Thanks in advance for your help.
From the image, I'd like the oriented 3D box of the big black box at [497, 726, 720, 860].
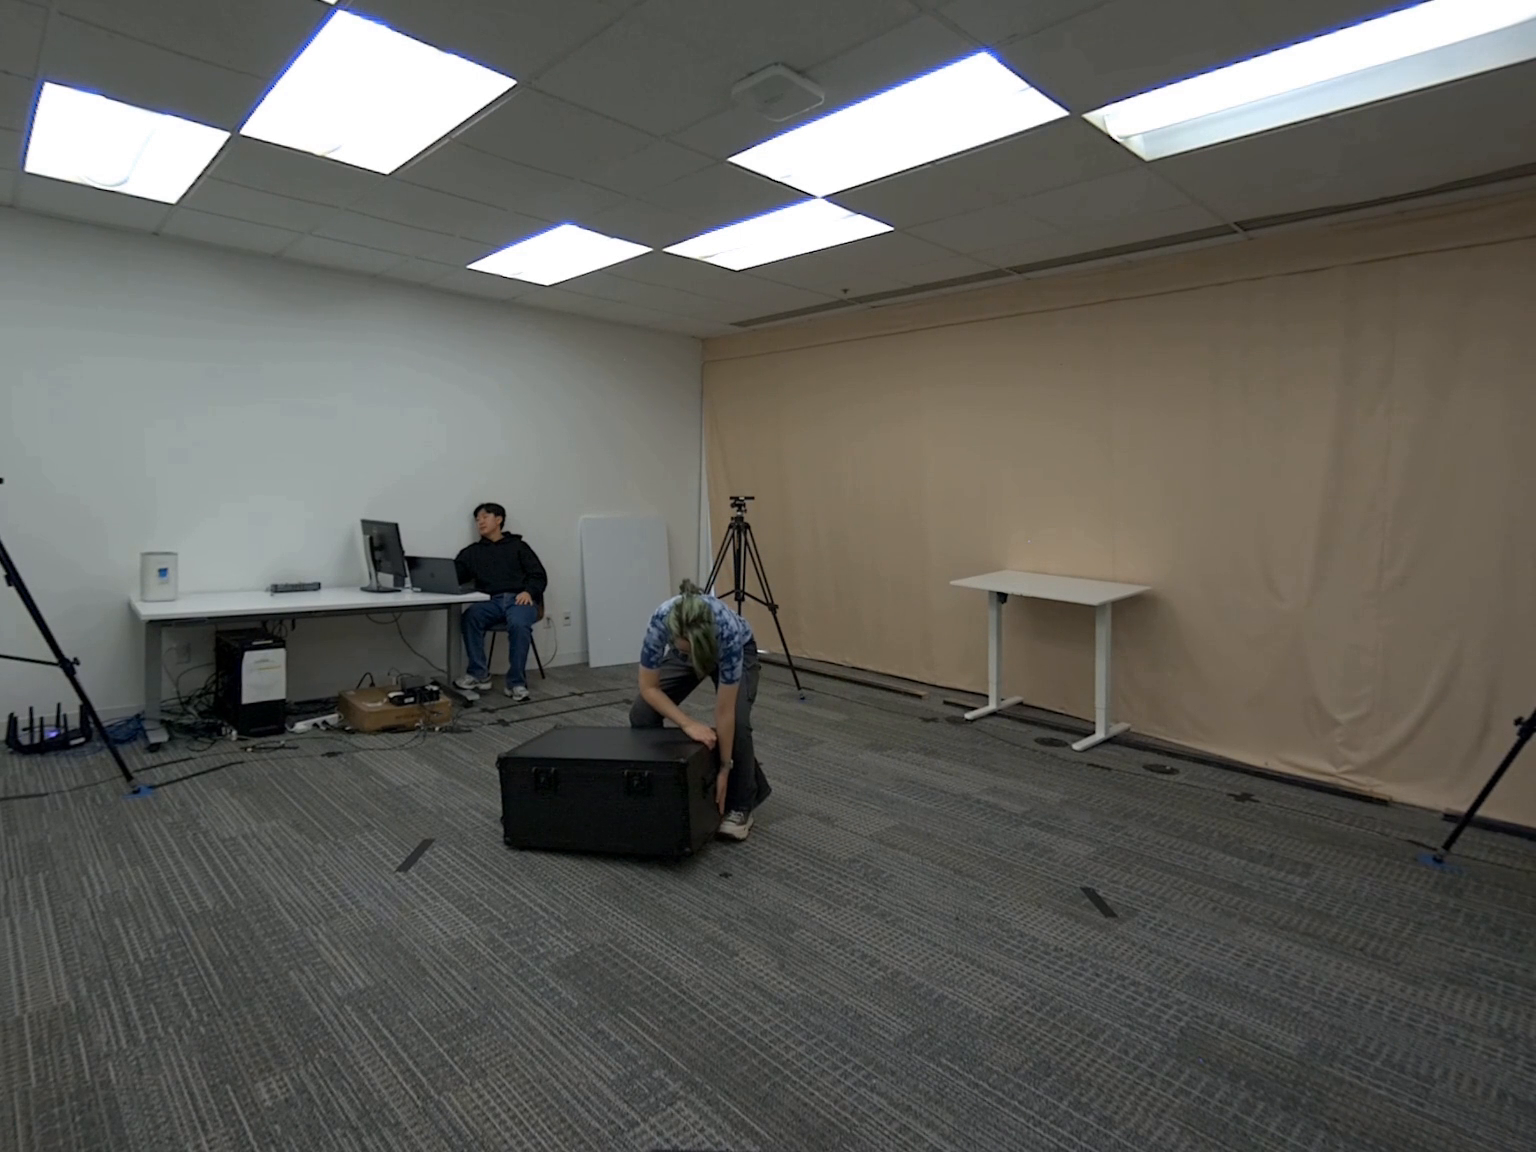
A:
[{"bbox_3d":[-0.644,0.849,3.399,0.872,0.395,0.516,-1,4,16],"label":"big black box"}]
